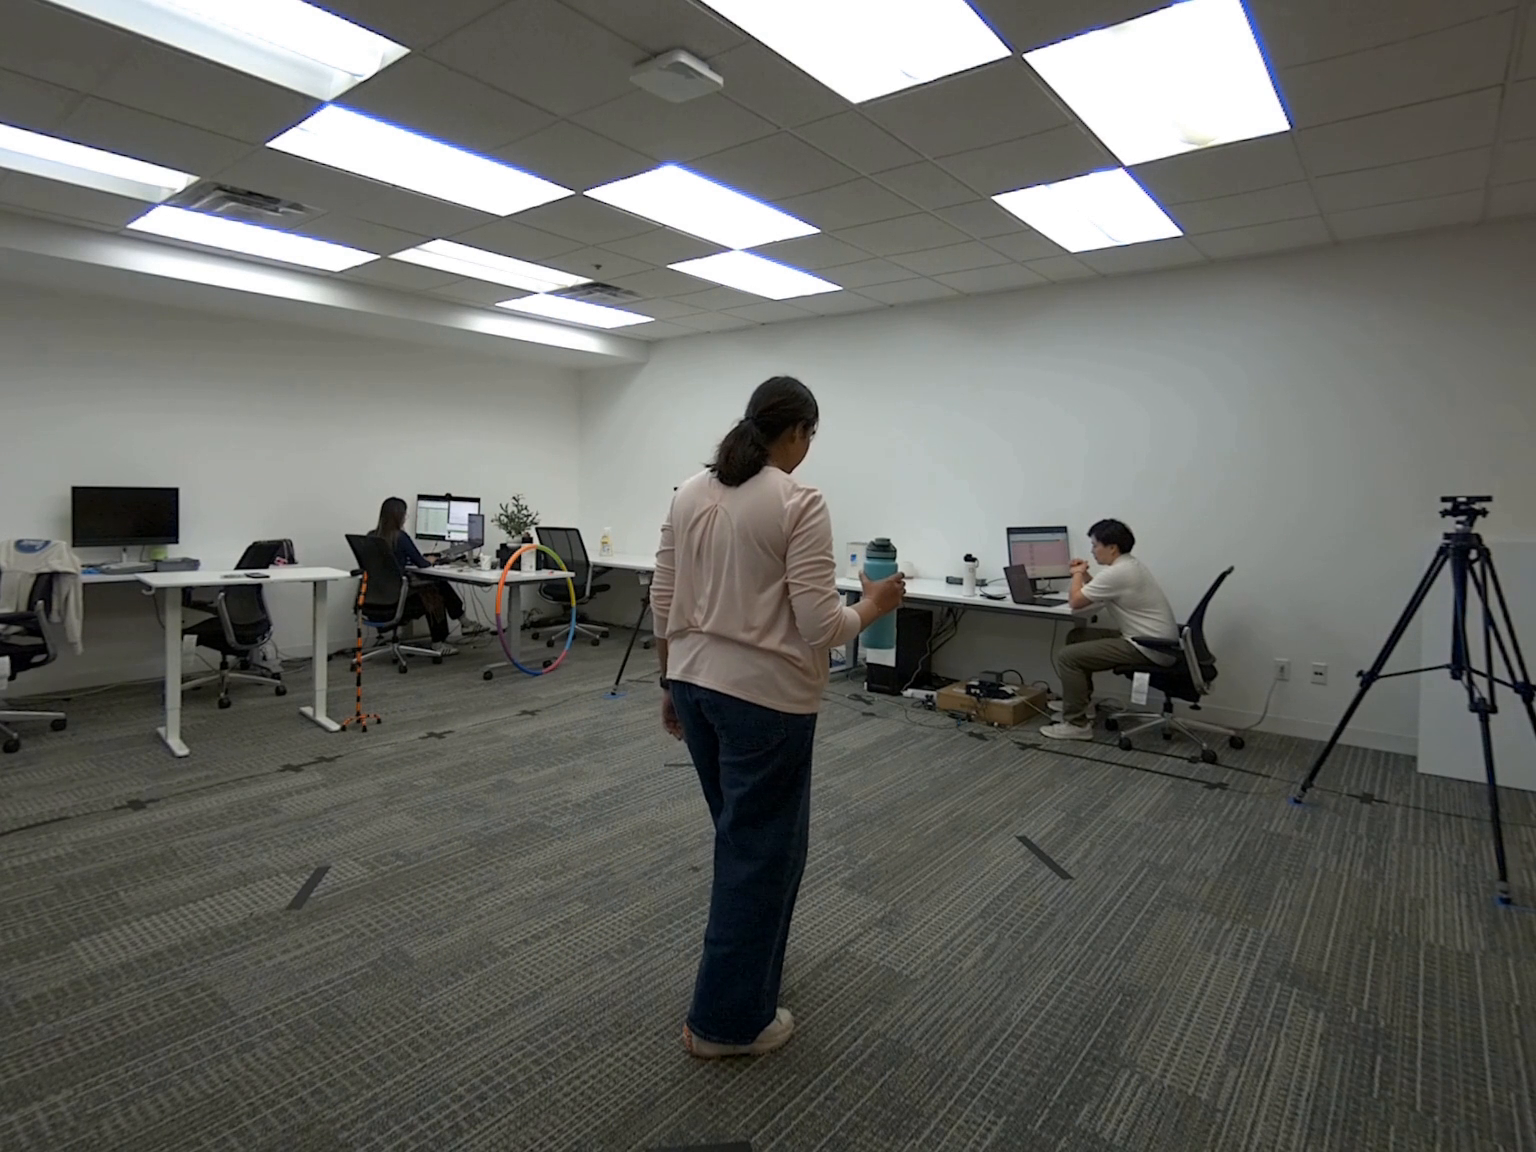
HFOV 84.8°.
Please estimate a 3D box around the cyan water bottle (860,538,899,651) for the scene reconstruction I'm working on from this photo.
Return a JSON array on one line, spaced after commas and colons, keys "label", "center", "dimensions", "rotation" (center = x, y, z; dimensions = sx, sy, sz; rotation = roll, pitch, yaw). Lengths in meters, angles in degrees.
[{"label": "cyan water bottle", "center": [0.282, 0.043, 2.190], "dimensions": [0.092, 0.284, 0.092], "rotation": [2, -2, -2]}]
